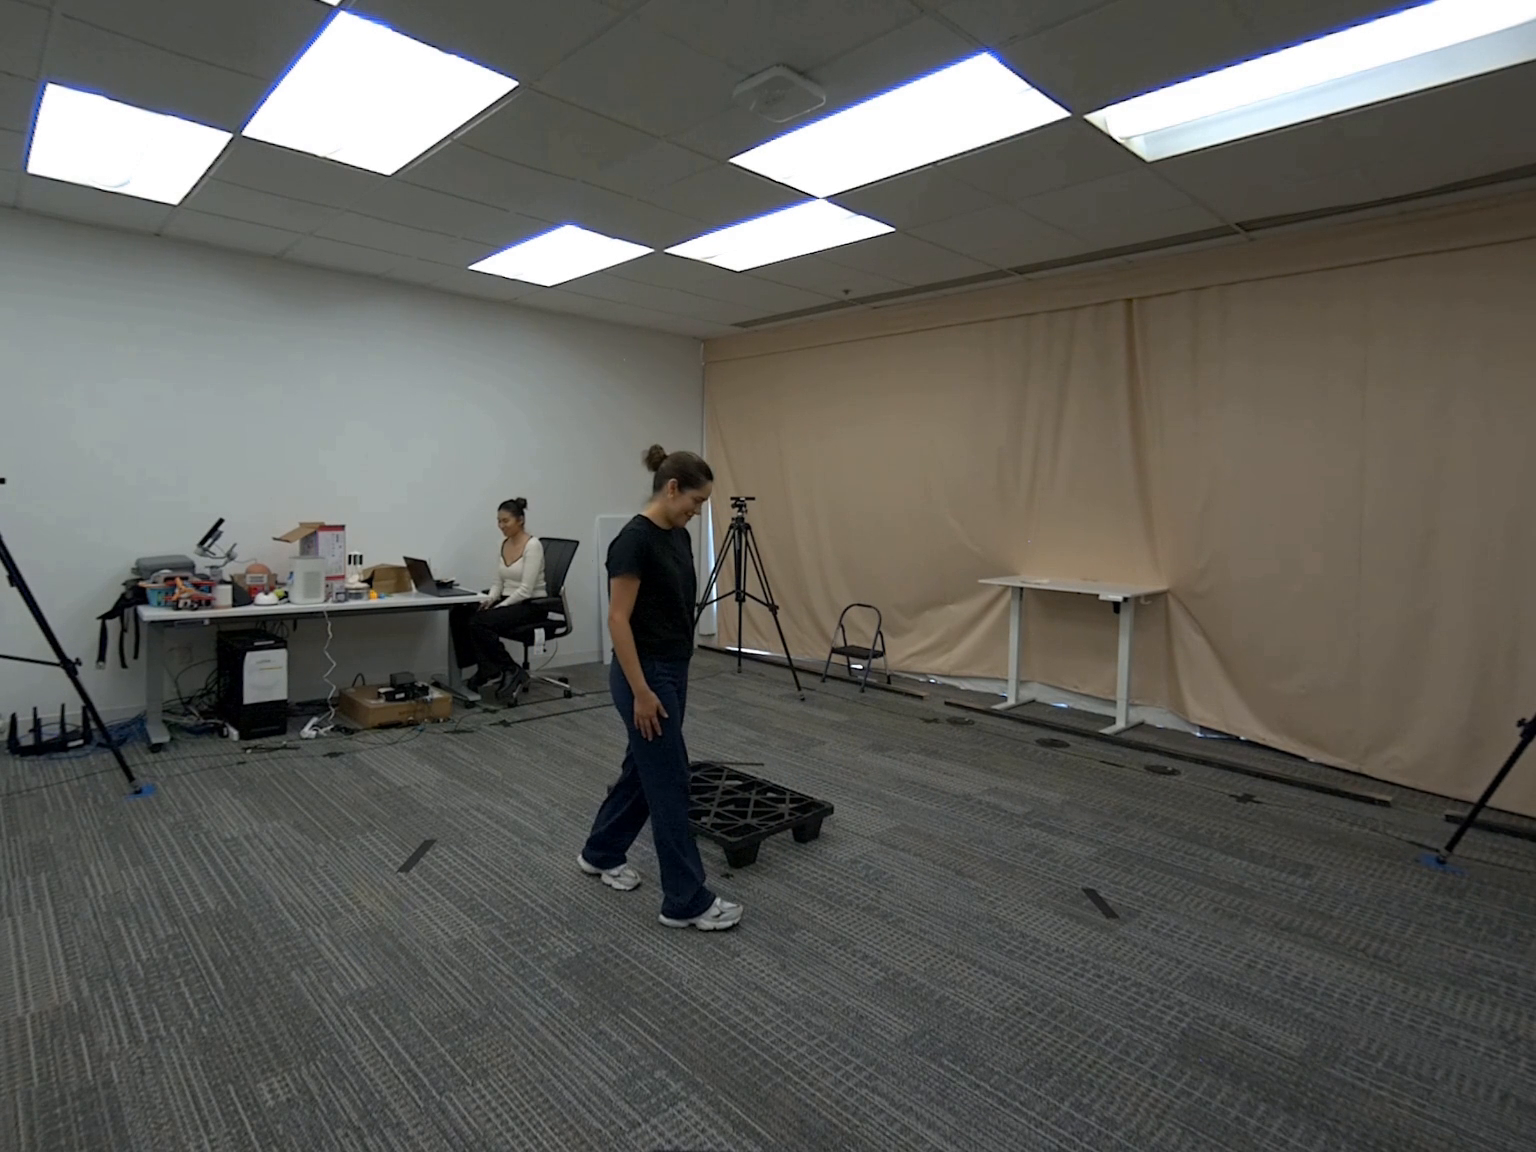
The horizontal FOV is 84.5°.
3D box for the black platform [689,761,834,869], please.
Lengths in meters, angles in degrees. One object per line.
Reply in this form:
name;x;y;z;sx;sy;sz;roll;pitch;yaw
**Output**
black platform;-0.218;0.999;3.560;0.591;0.143;0.826;-4;7;-45
